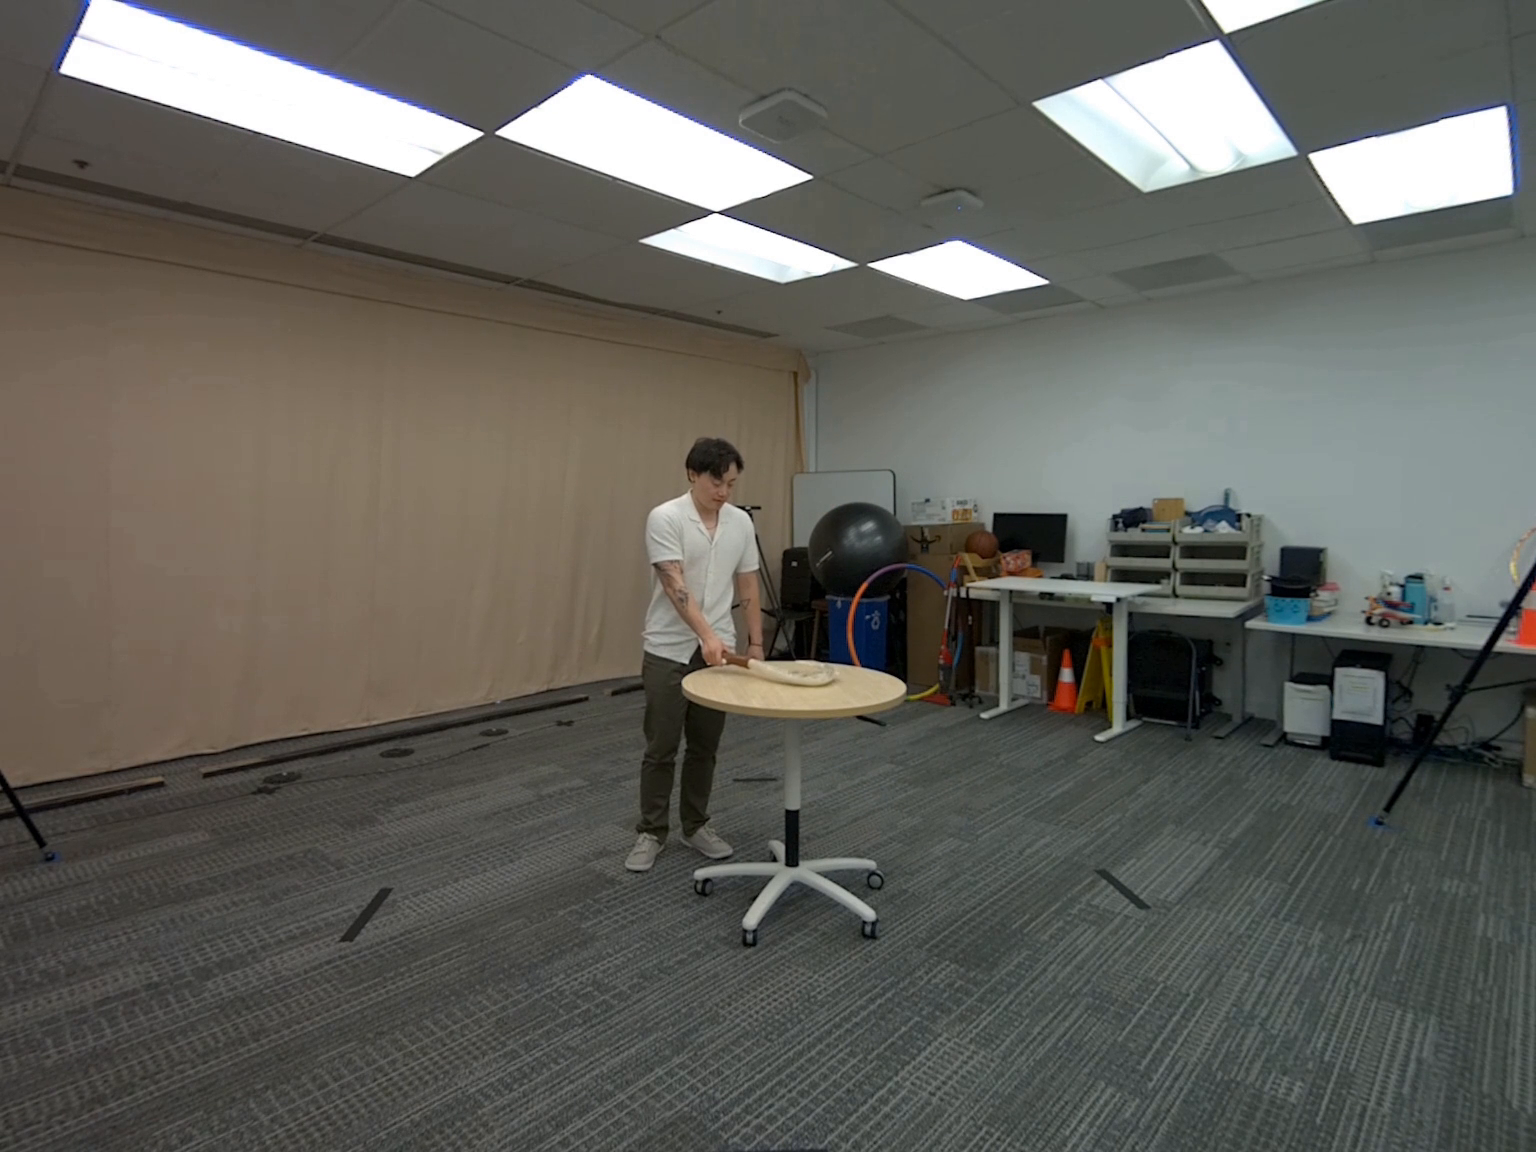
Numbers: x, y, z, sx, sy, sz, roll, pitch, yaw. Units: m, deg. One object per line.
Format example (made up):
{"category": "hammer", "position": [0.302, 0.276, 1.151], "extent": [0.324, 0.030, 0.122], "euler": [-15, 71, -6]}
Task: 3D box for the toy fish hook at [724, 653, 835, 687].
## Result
{"category": "toy fish hook", "position": [0.013, 0.319, 3.011], "extent": [0.523, 0.048, 0.218], "euler": [9, 9, 32]}
